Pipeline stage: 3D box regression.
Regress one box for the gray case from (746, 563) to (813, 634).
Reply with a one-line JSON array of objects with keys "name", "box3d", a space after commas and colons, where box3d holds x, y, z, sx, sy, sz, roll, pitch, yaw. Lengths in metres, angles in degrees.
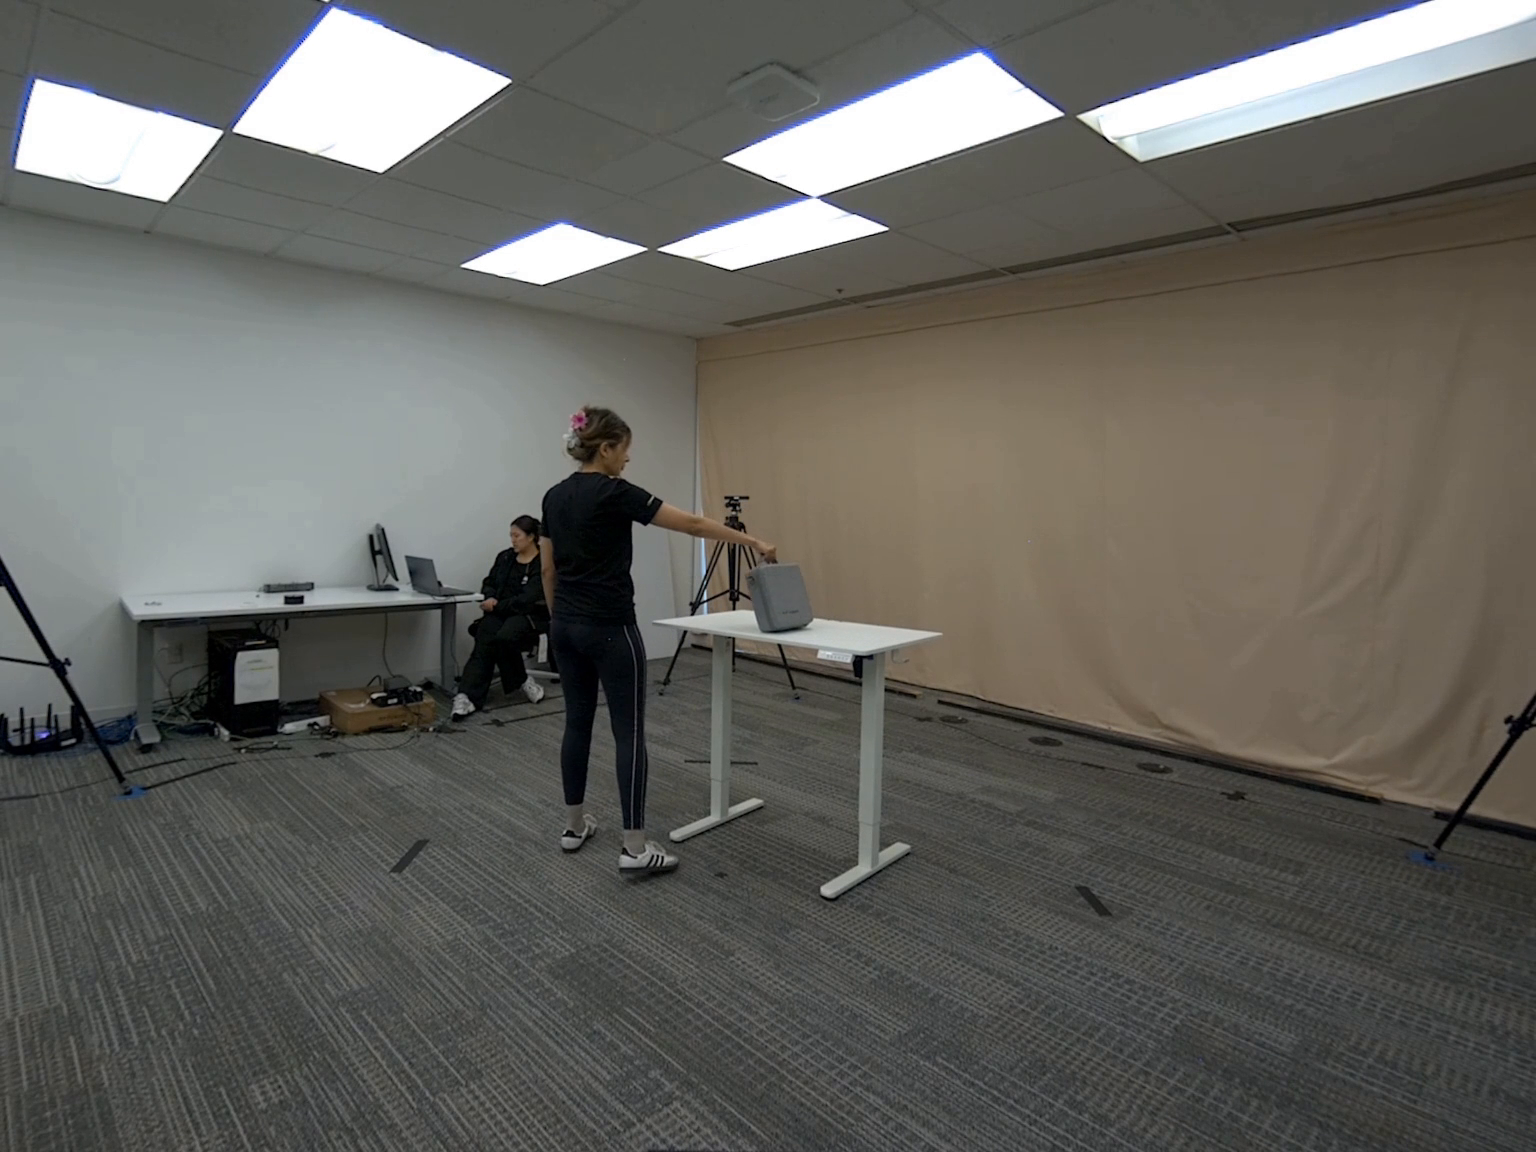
[{"name": "gray case", "box3d": [0.036, 0.078, 3.268, 0.106, 0.263, 0.251, -22, -12, 38]}]
